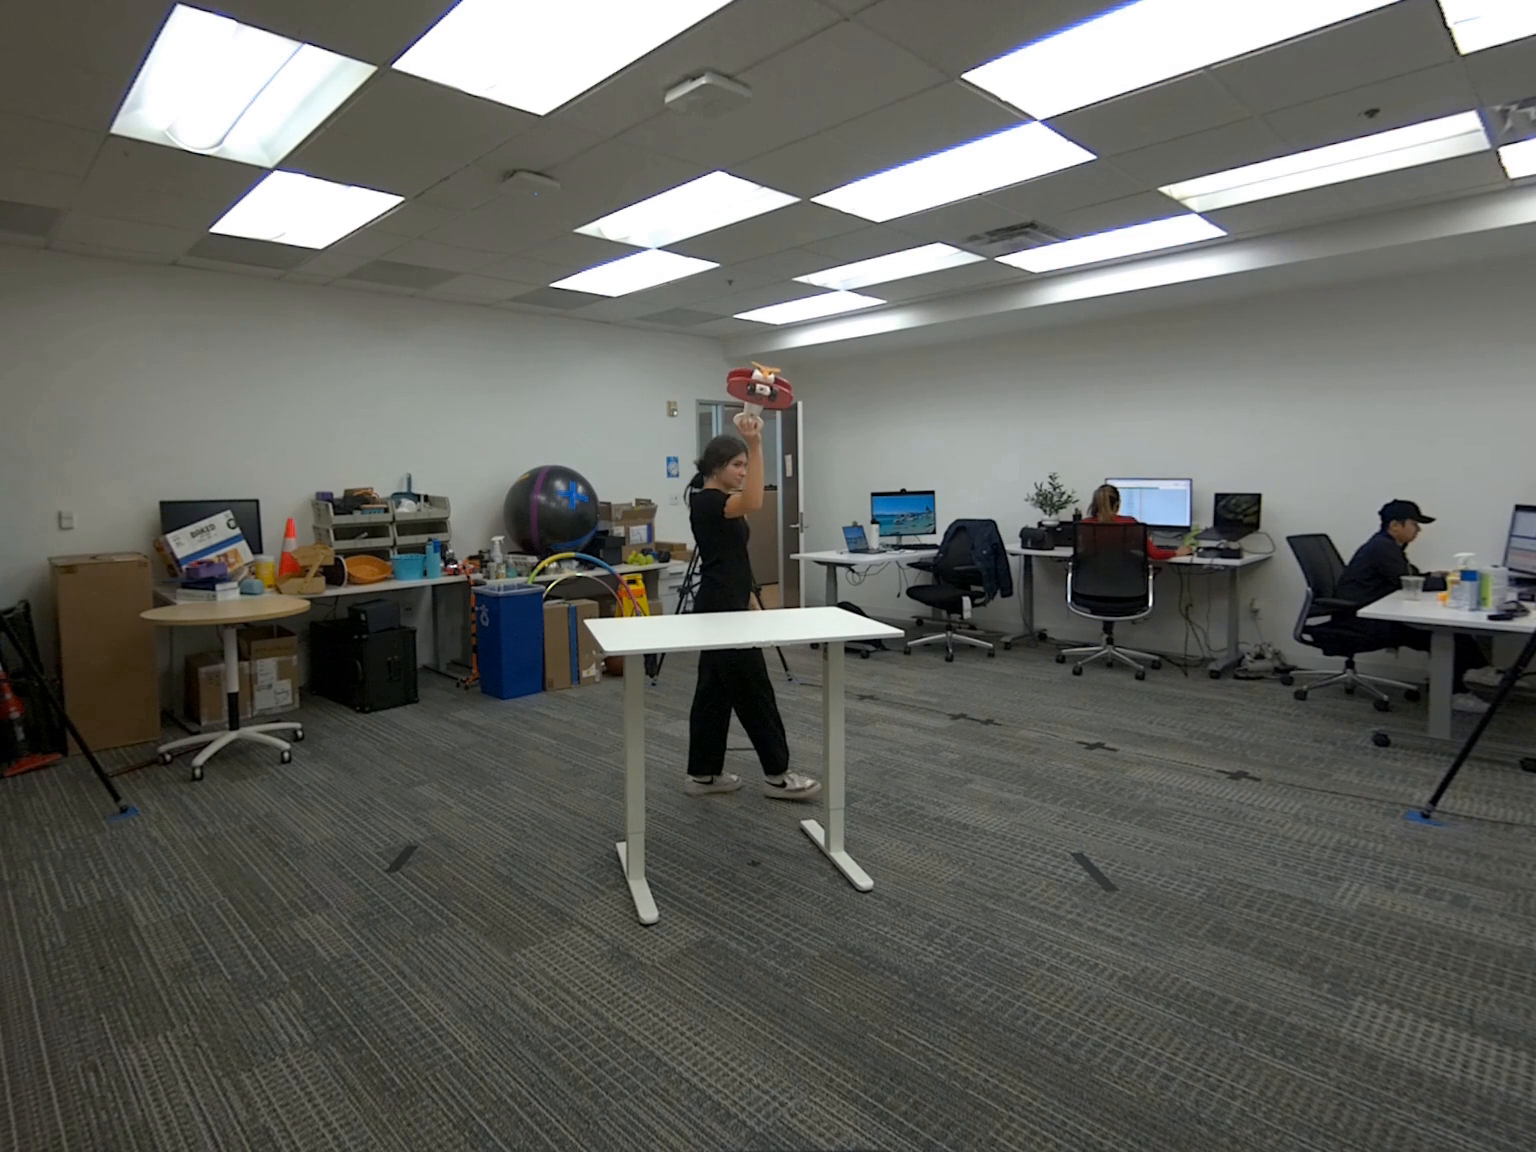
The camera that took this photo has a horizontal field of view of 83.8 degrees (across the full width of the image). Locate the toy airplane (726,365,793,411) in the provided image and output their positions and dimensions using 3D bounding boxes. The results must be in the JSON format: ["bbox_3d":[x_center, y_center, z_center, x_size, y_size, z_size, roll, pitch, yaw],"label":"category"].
[{"bbox_3d":[-0.056,-0.690,3.306,0.243,0.160,0.262,33,-46,-30],"label":"toy airplane"}]
